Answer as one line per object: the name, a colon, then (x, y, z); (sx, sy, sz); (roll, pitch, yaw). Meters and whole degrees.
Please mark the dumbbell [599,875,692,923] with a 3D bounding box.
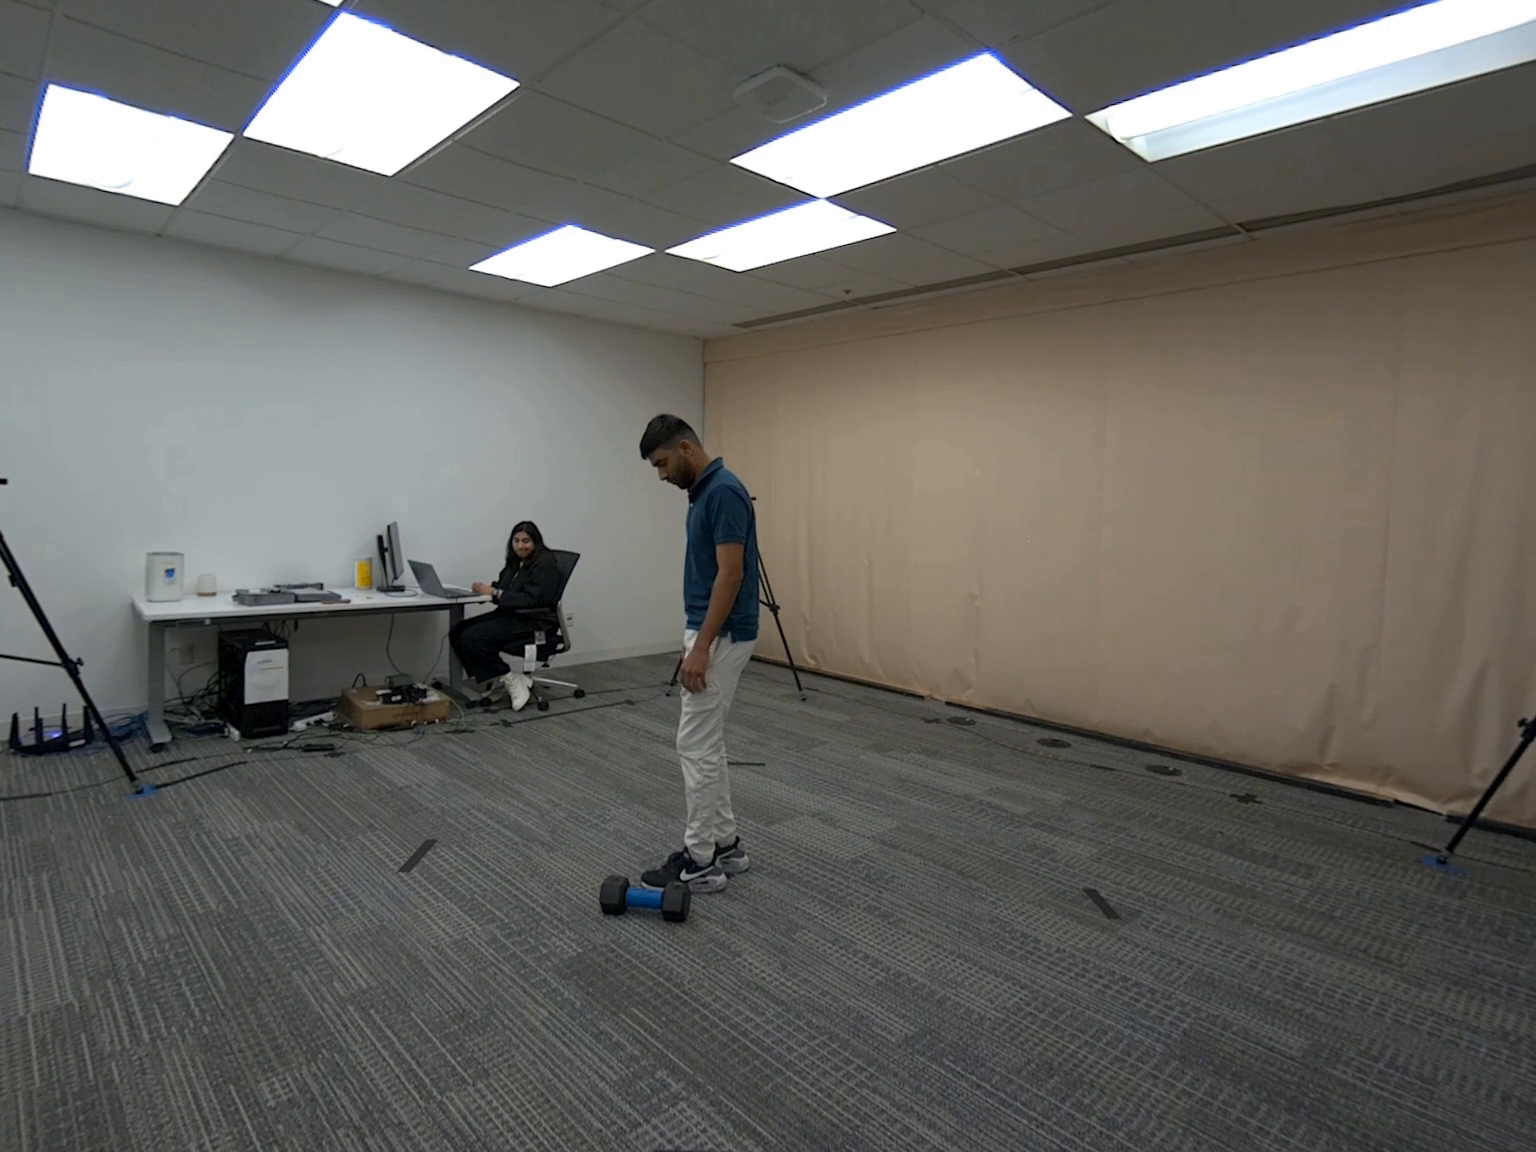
dumbbell: (-0.418, 1.075, 2.801); (0.296, 0.125, 0.106); (2, -25, 10)
